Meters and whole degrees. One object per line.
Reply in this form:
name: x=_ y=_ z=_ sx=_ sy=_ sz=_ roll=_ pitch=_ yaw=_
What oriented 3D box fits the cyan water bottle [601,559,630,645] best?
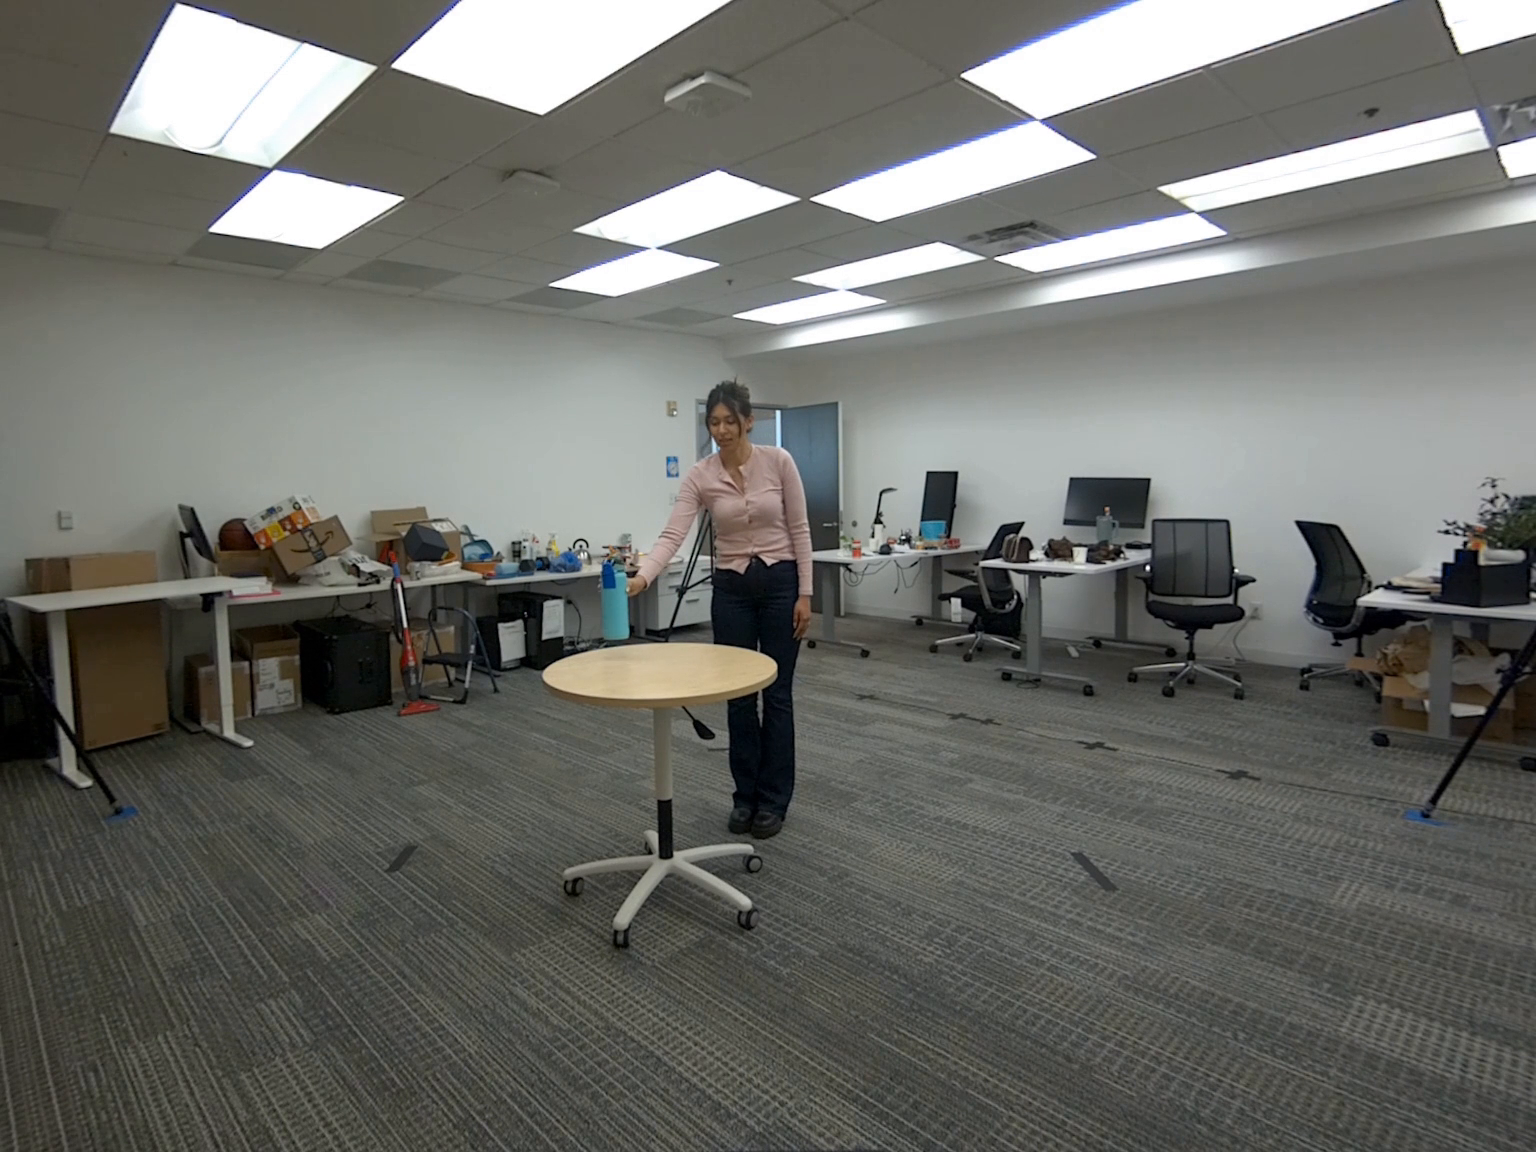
cyan water bottle: x=-0.524 y=0.069 z=2.936 sx=0.092 sy=0.283 sz=0.092 roll=-1 pitch=3 yaw=-2
